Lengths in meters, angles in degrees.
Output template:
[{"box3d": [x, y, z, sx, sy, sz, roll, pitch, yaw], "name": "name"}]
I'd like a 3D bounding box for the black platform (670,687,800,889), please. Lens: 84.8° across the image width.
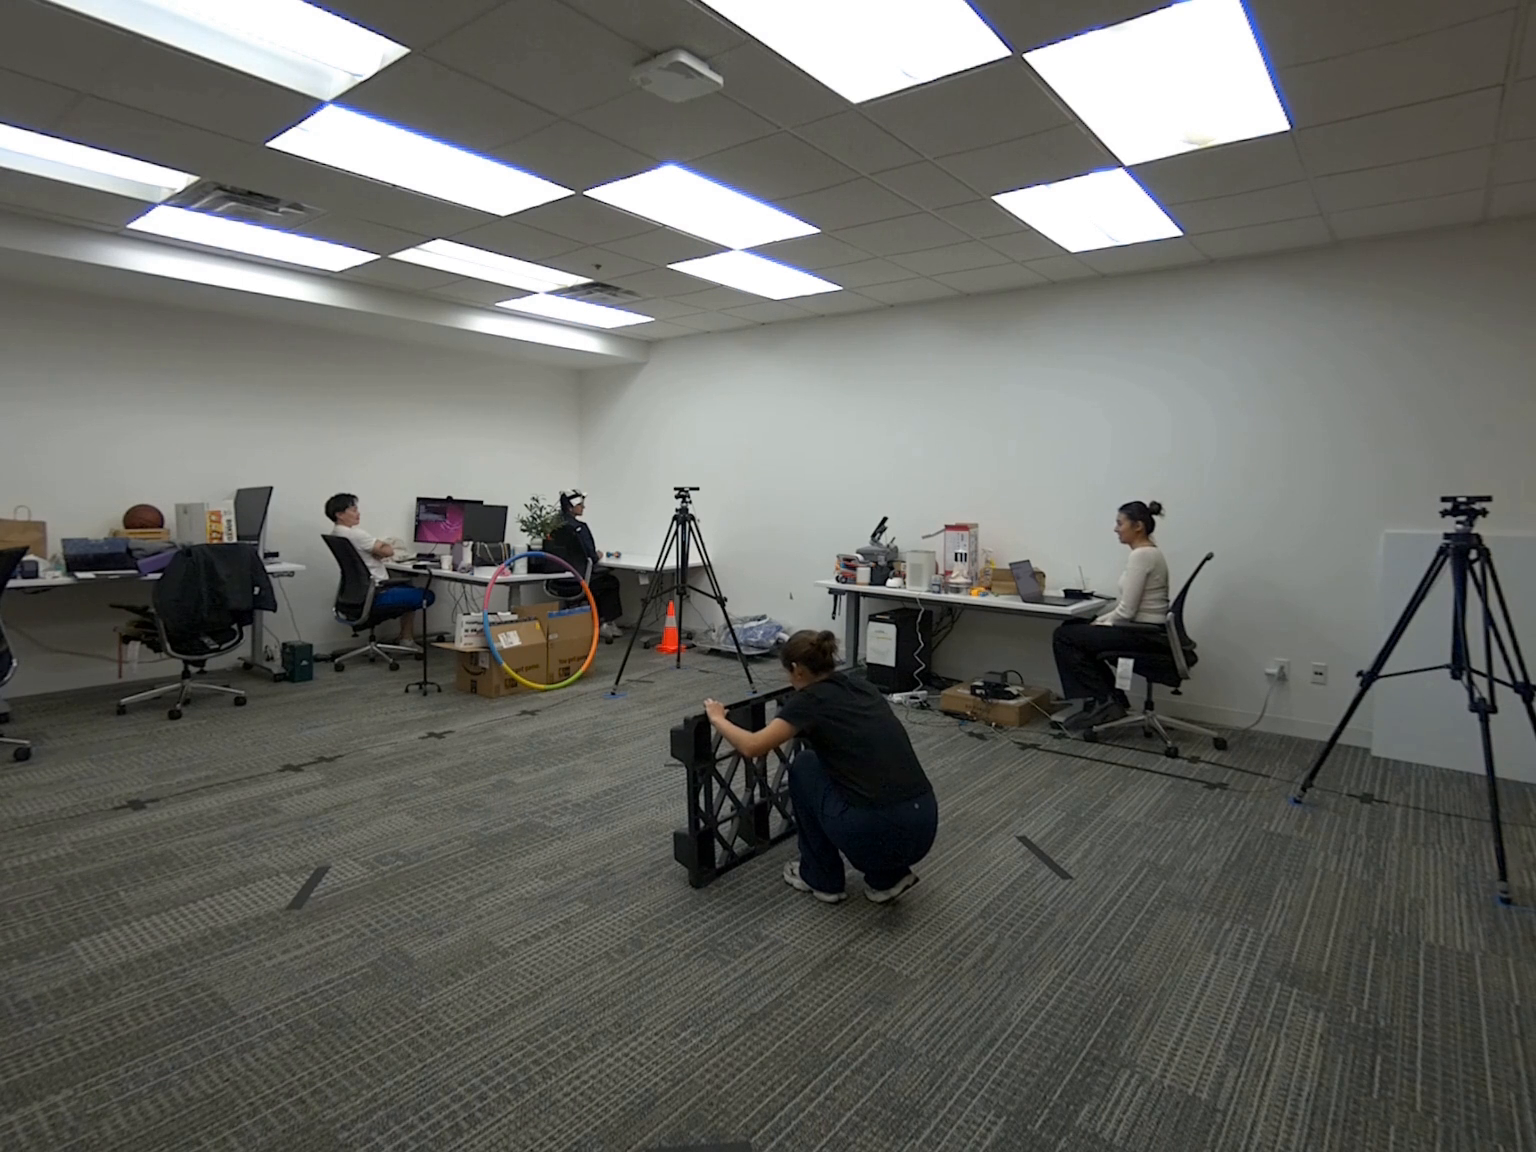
[{"box3d": [-0.063, 0.753, 3.296, 0.148, 0.604, 0.782, -1, 2, 37], "name": "black platform"}]
